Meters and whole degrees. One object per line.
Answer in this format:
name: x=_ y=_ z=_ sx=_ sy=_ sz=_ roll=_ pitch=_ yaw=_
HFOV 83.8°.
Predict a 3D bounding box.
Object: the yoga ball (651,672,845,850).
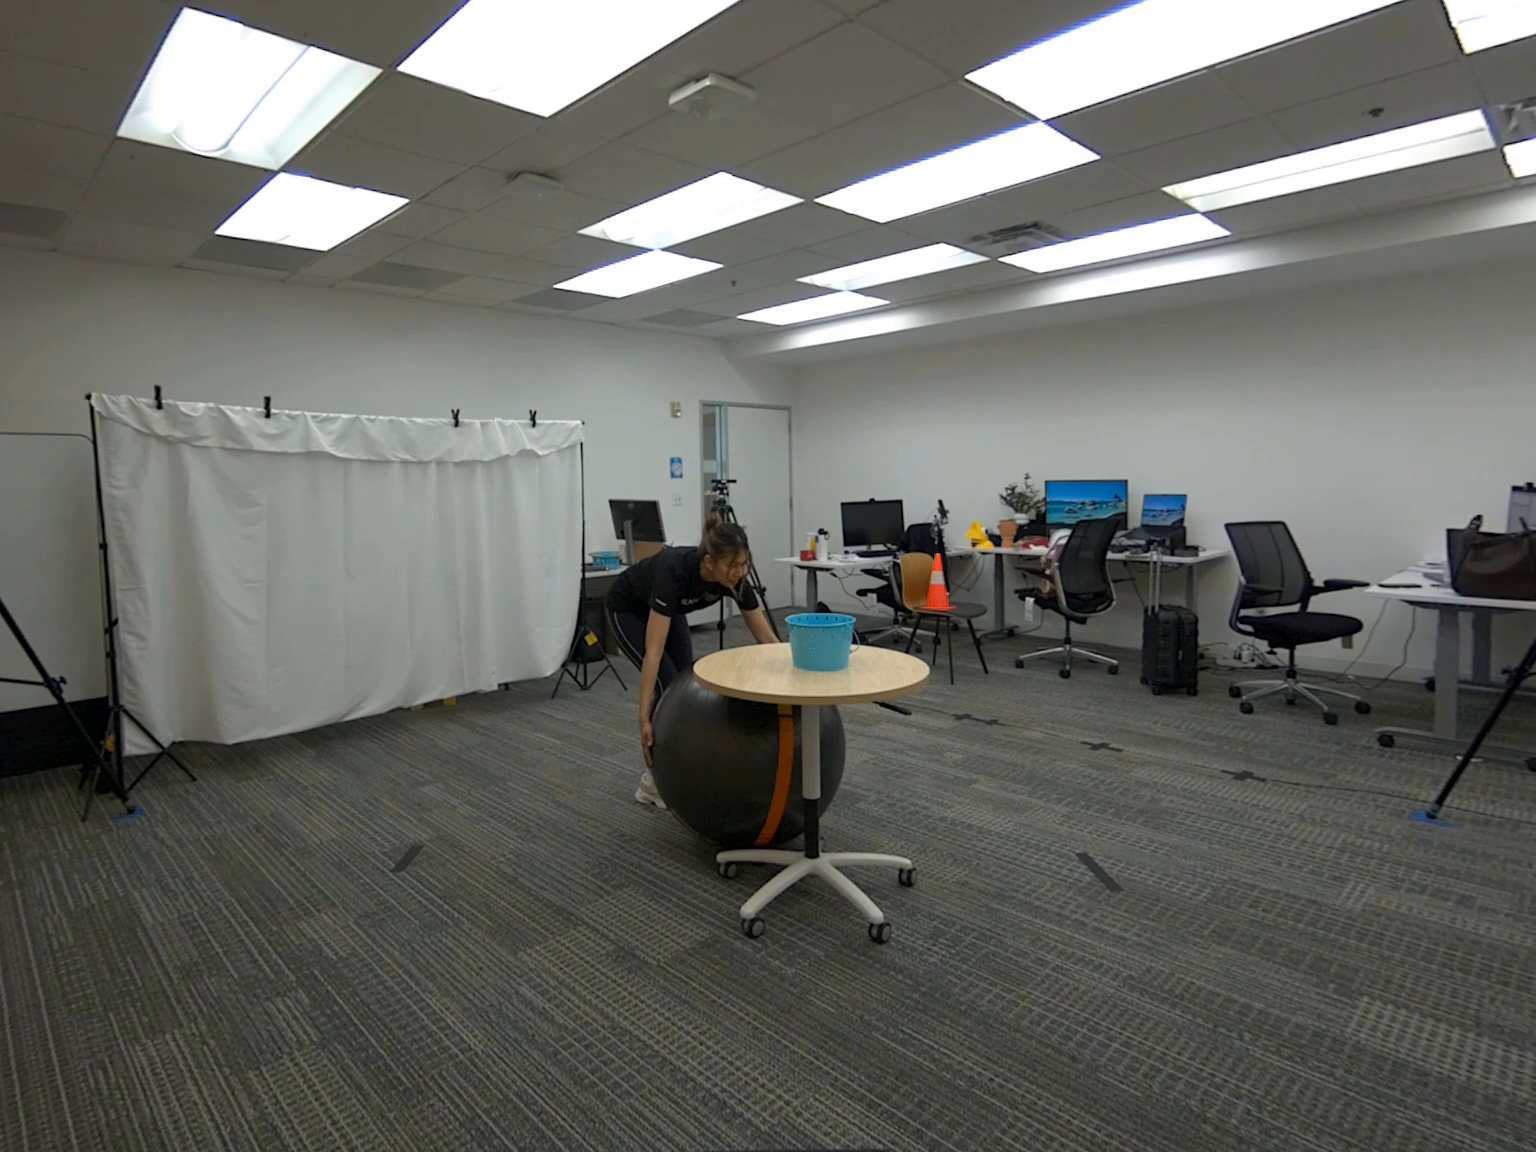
yoga ball: x=-0.081 y=0.653 z=3.297 sx=0.757 sy=0.755 sz=0.762 roll=-1 pitch=5 yaw=-2
